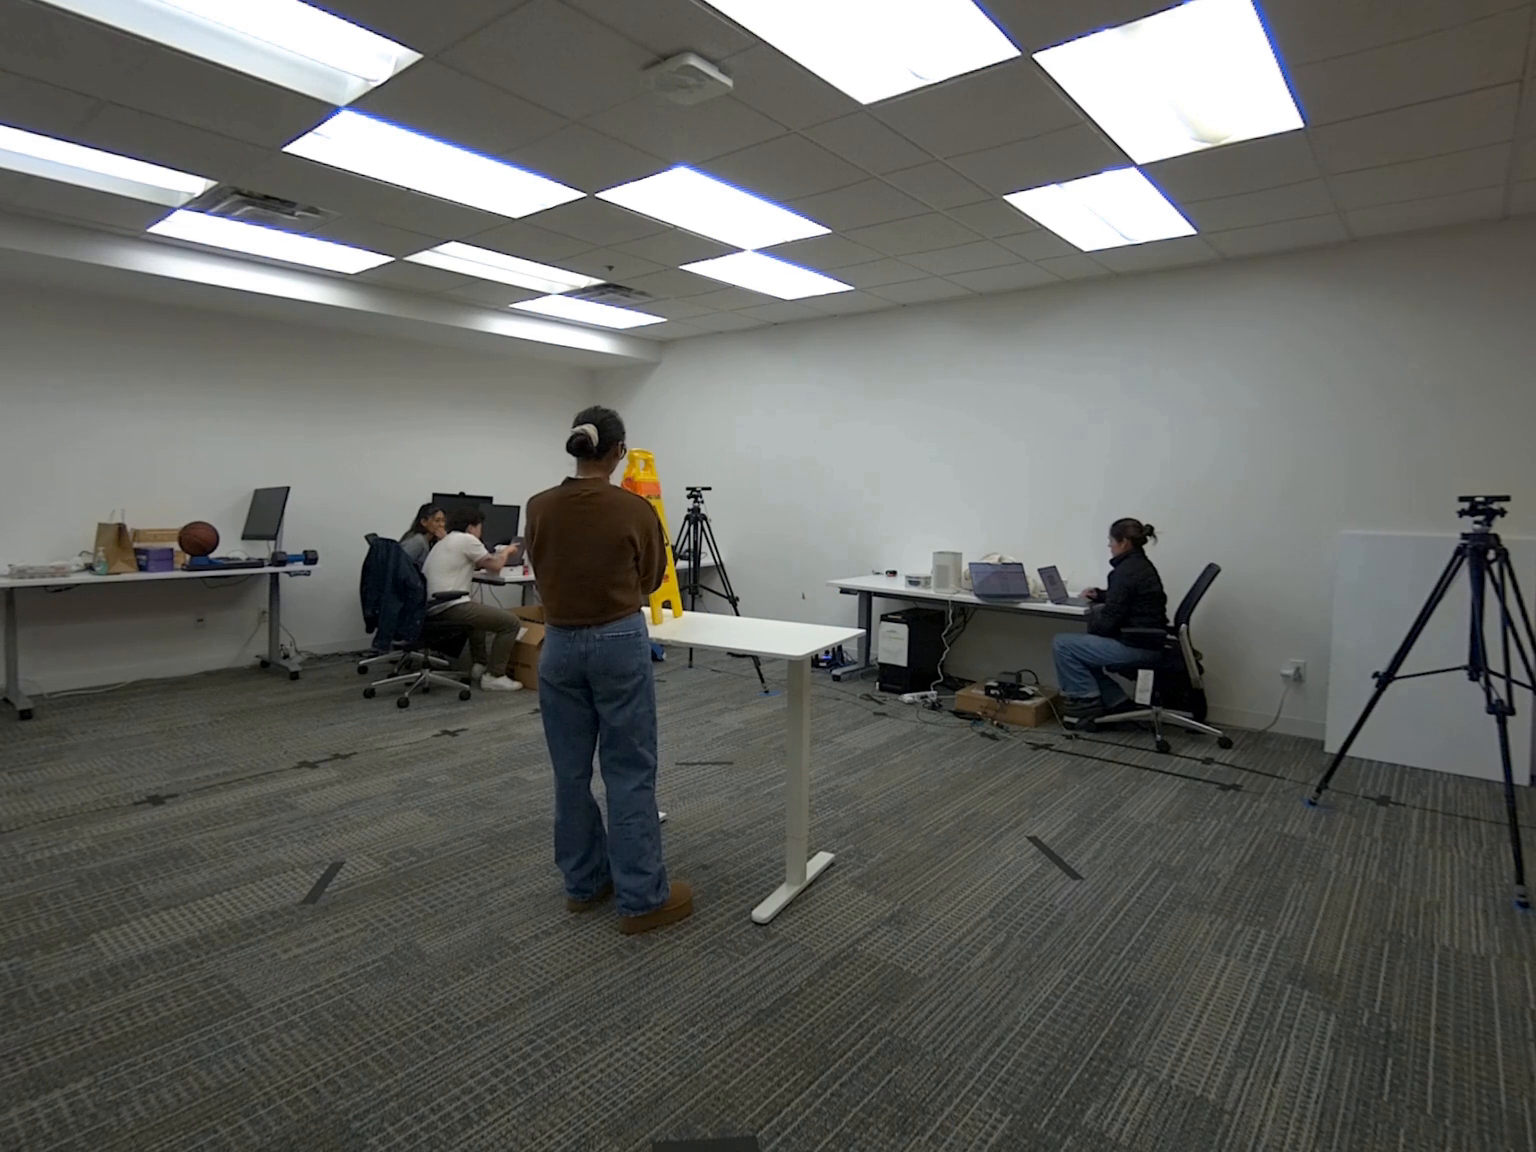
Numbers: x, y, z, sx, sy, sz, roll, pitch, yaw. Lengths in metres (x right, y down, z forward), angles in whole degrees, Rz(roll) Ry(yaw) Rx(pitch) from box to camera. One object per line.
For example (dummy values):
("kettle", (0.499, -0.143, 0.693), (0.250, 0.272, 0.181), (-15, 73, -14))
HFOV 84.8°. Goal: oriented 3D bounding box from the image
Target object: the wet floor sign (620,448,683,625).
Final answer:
("wet floor sign", (-0.509, -0.163, 3.285), (0.295, 0.645, 0.277), (2, 1, 16))
